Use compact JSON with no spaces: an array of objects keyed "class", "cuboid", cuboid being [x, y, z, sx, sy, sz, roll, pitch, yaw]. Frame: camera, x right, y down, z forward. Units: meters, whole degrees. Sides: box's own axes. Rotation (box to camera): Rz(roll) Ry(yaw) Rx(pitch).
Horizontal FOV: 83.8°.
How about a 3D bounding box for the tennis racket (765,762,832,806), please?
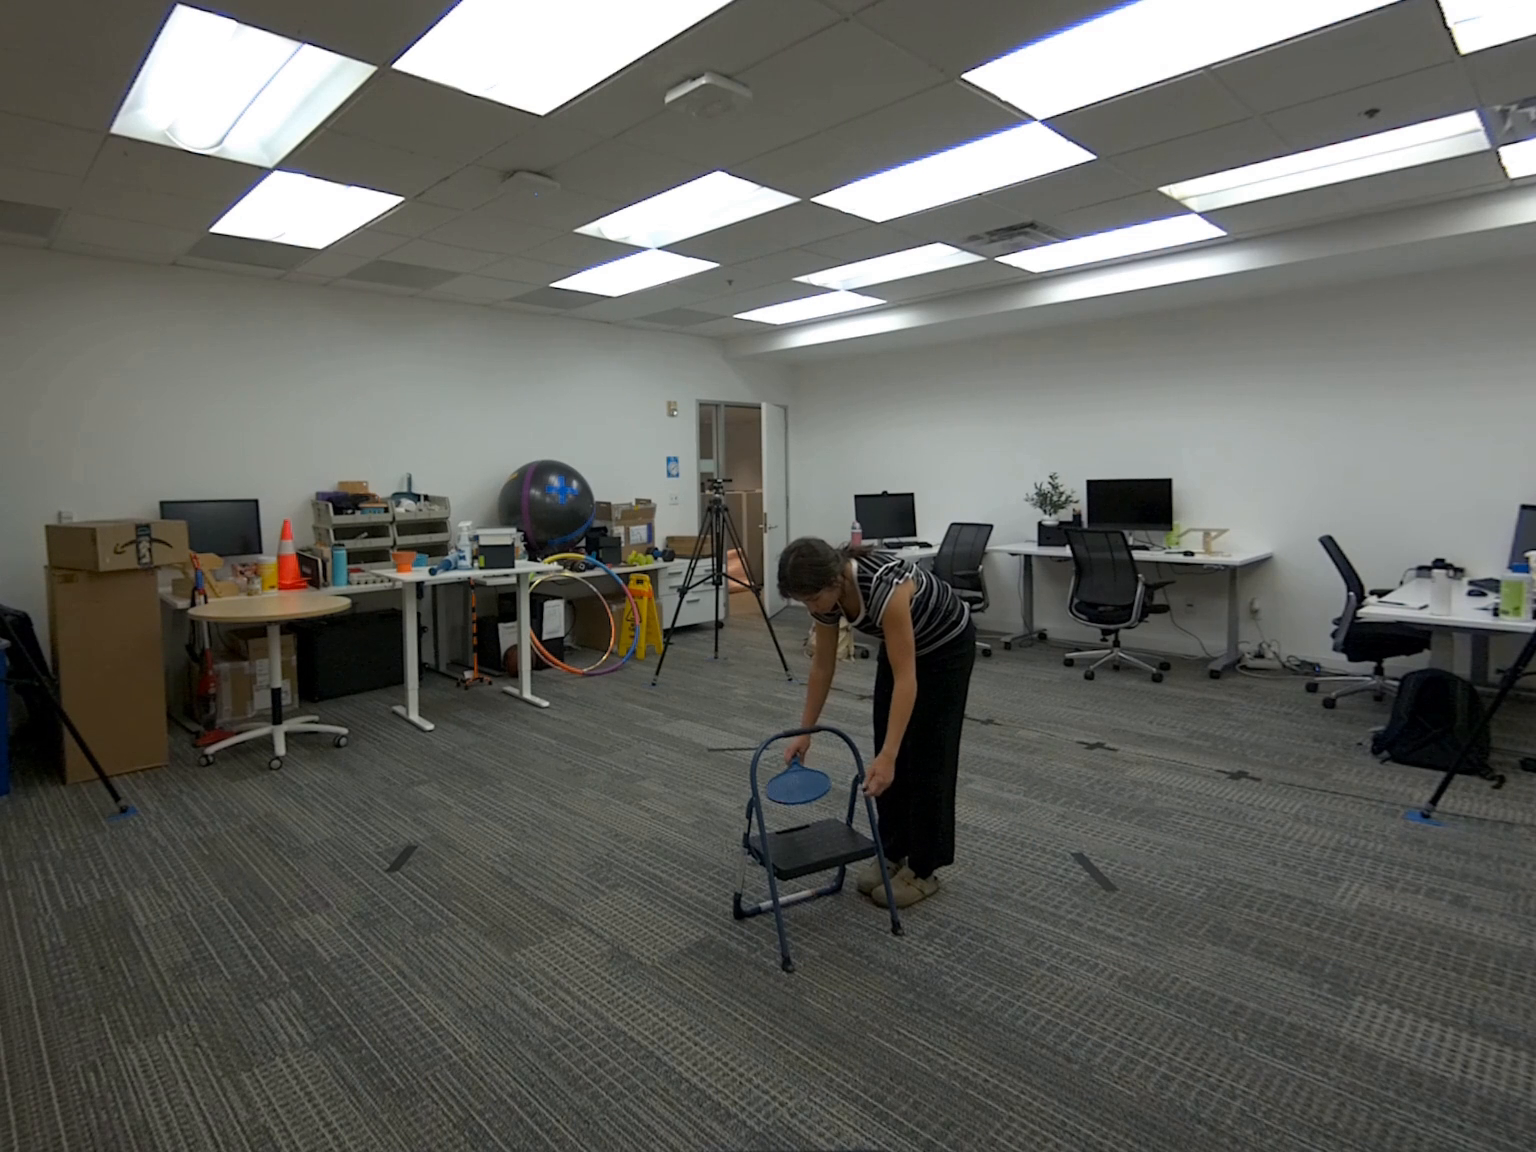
[{"class":"tennis racket","cuboid":[0.111,0.665,2.766,0.214,0.031,0.435,-10,9,2]}]
